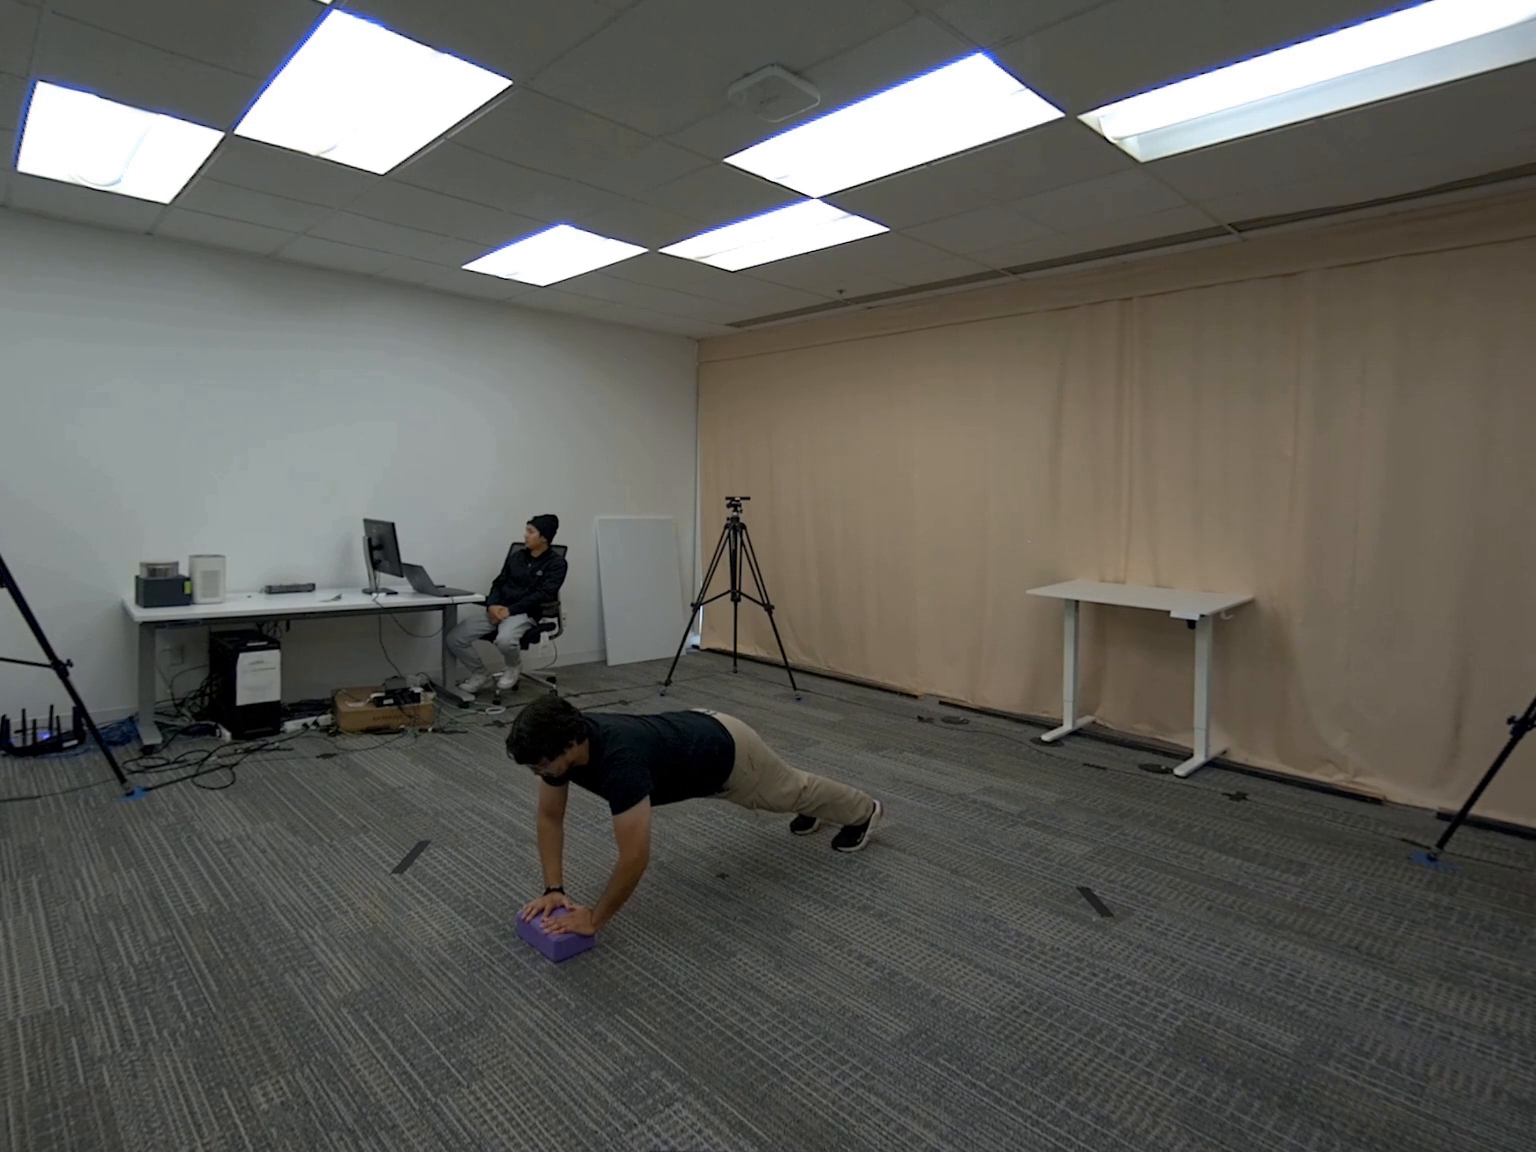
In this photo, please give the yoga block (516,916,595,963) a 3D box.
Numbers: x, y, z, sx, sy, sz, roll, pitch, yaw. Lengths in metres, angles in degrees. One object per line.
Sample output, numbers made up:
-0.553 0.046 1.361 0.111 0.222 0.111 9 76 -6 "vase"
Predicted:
-0.667 1.106 2.619 0.235 0.076 0.146 7 9 43 "yoga block"
